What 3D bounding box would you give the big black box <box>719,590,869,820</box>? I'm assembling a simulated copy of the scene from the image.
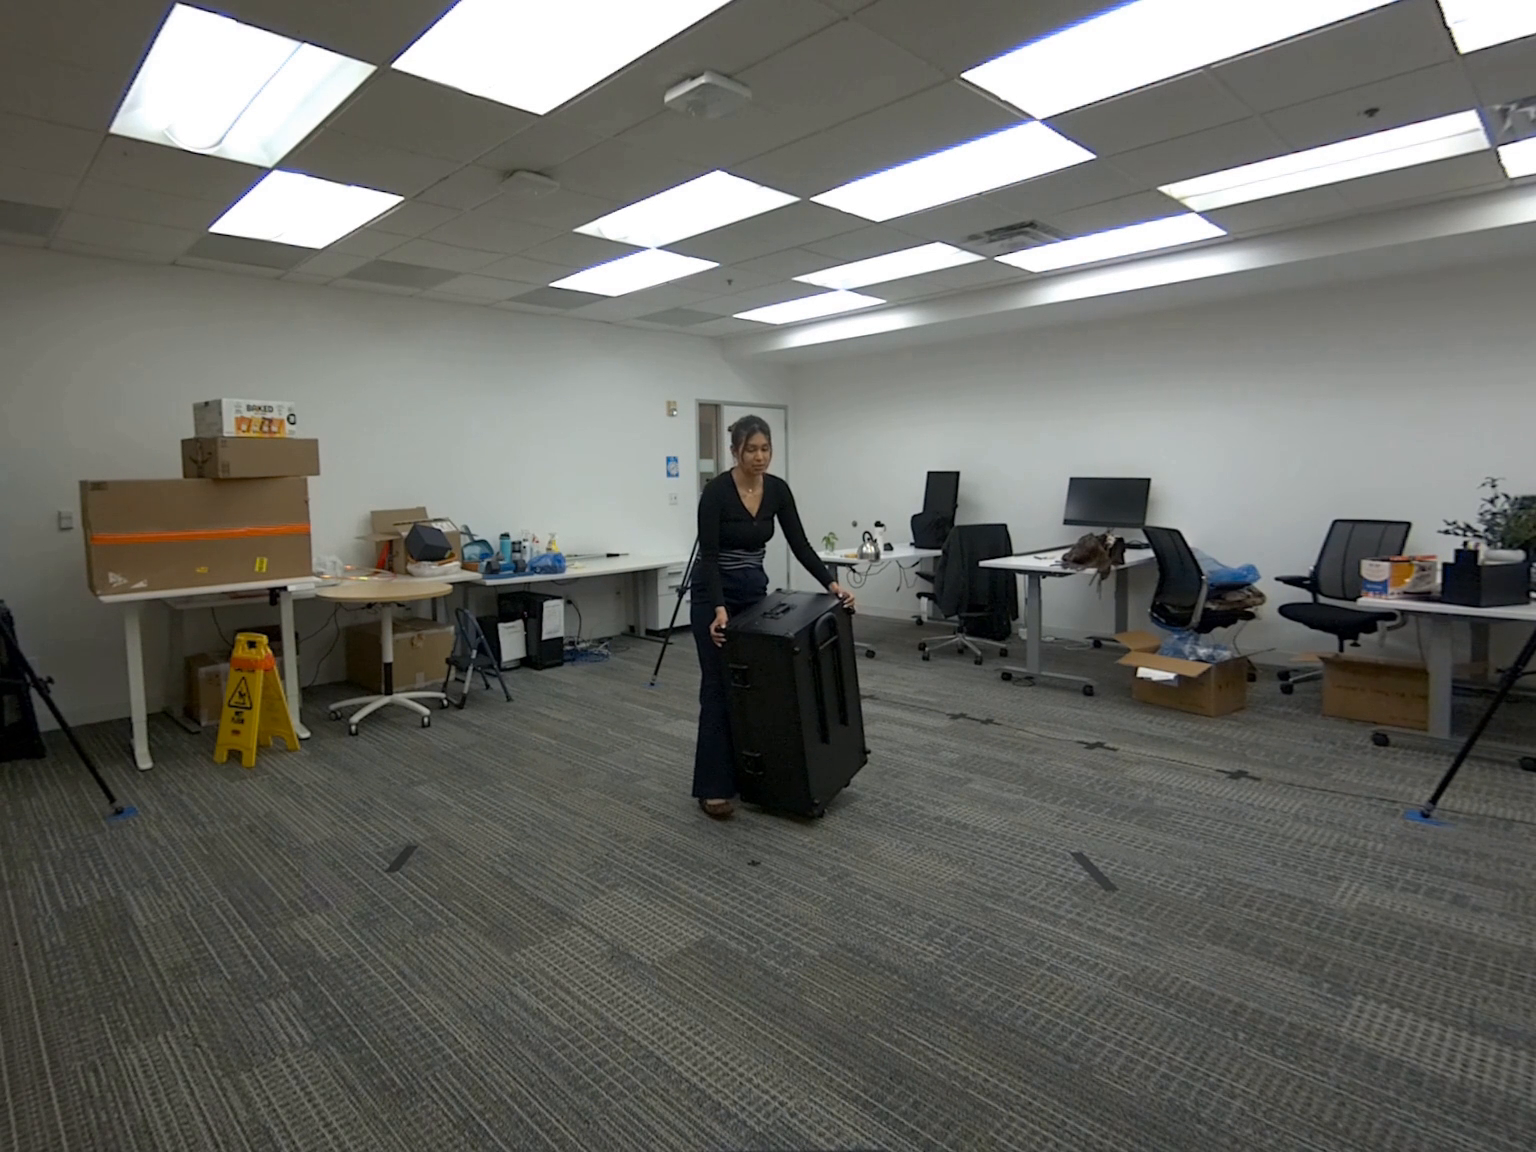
[{"bbox_3d":[0.129,0.544,3.587,0.408,0.848,0.514,4,20,35],"label":"big black box"}]
